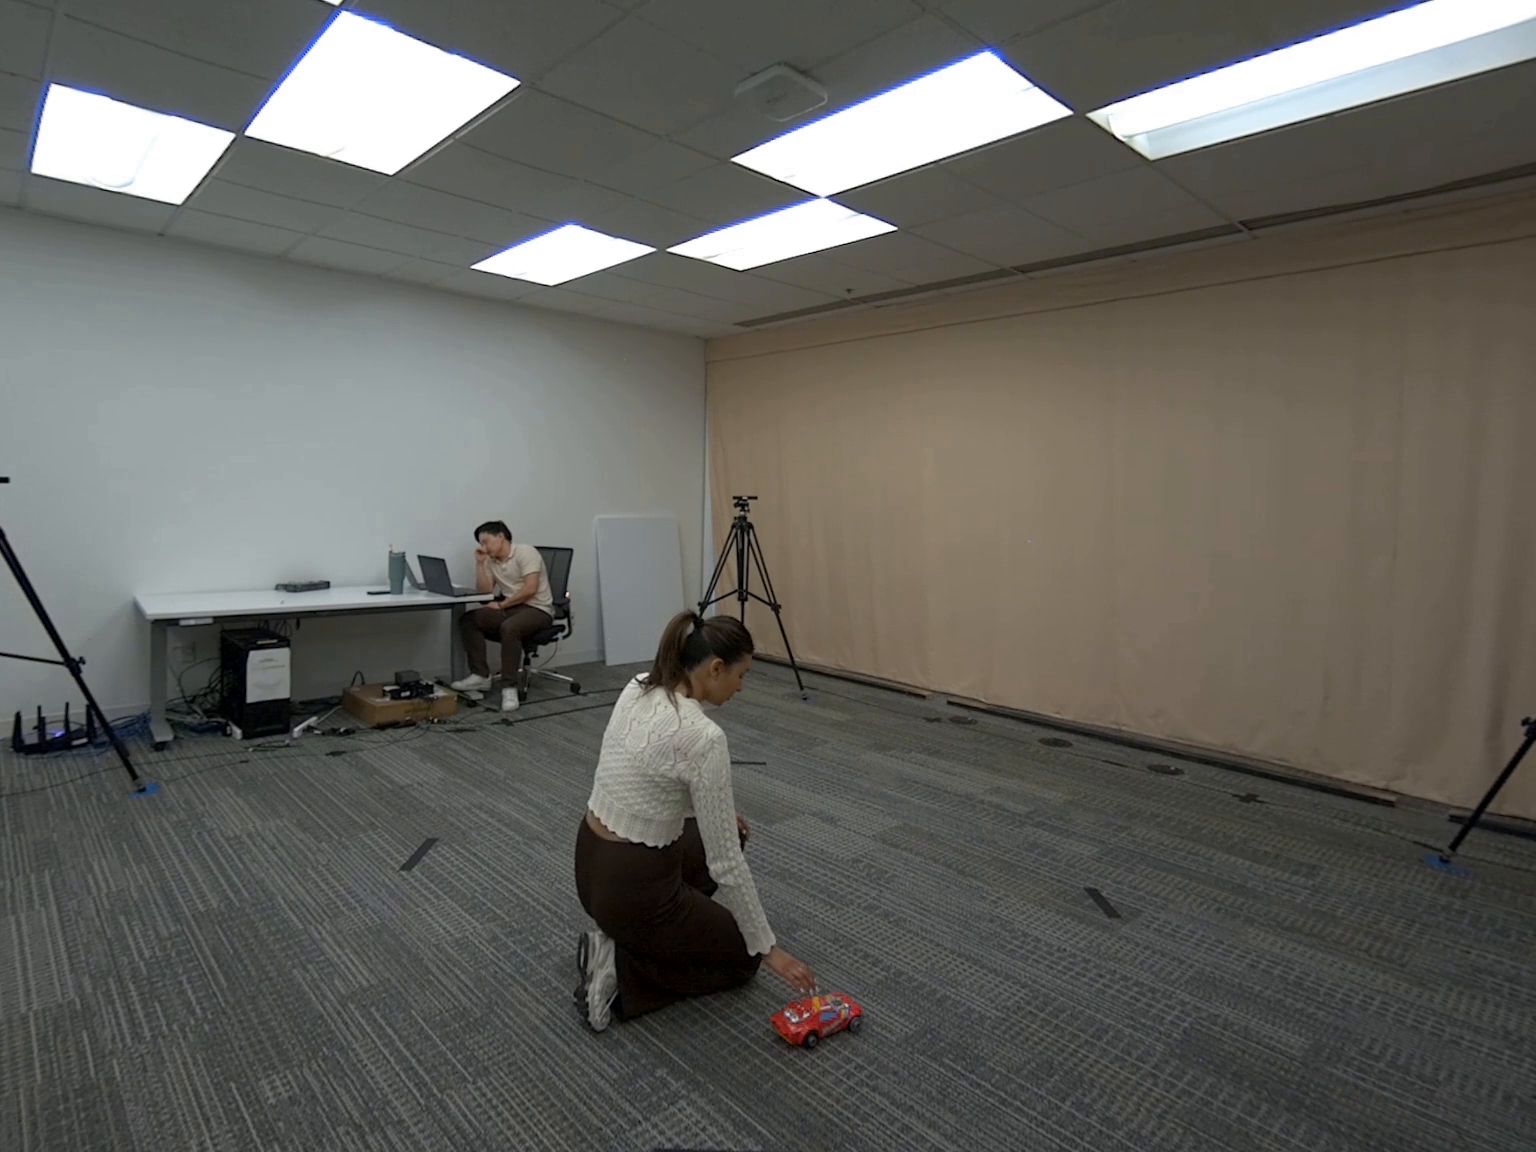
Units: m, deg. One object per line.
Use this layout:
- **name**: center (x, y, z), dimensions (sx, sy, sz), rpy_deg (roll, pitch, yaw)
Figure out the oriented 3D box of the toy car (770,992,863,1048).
- **toy car**: center (0.117, 1.163, 2.197), dimensions (0.248, 0.083, 0.133), rpy_deg (11, 0, -31)
